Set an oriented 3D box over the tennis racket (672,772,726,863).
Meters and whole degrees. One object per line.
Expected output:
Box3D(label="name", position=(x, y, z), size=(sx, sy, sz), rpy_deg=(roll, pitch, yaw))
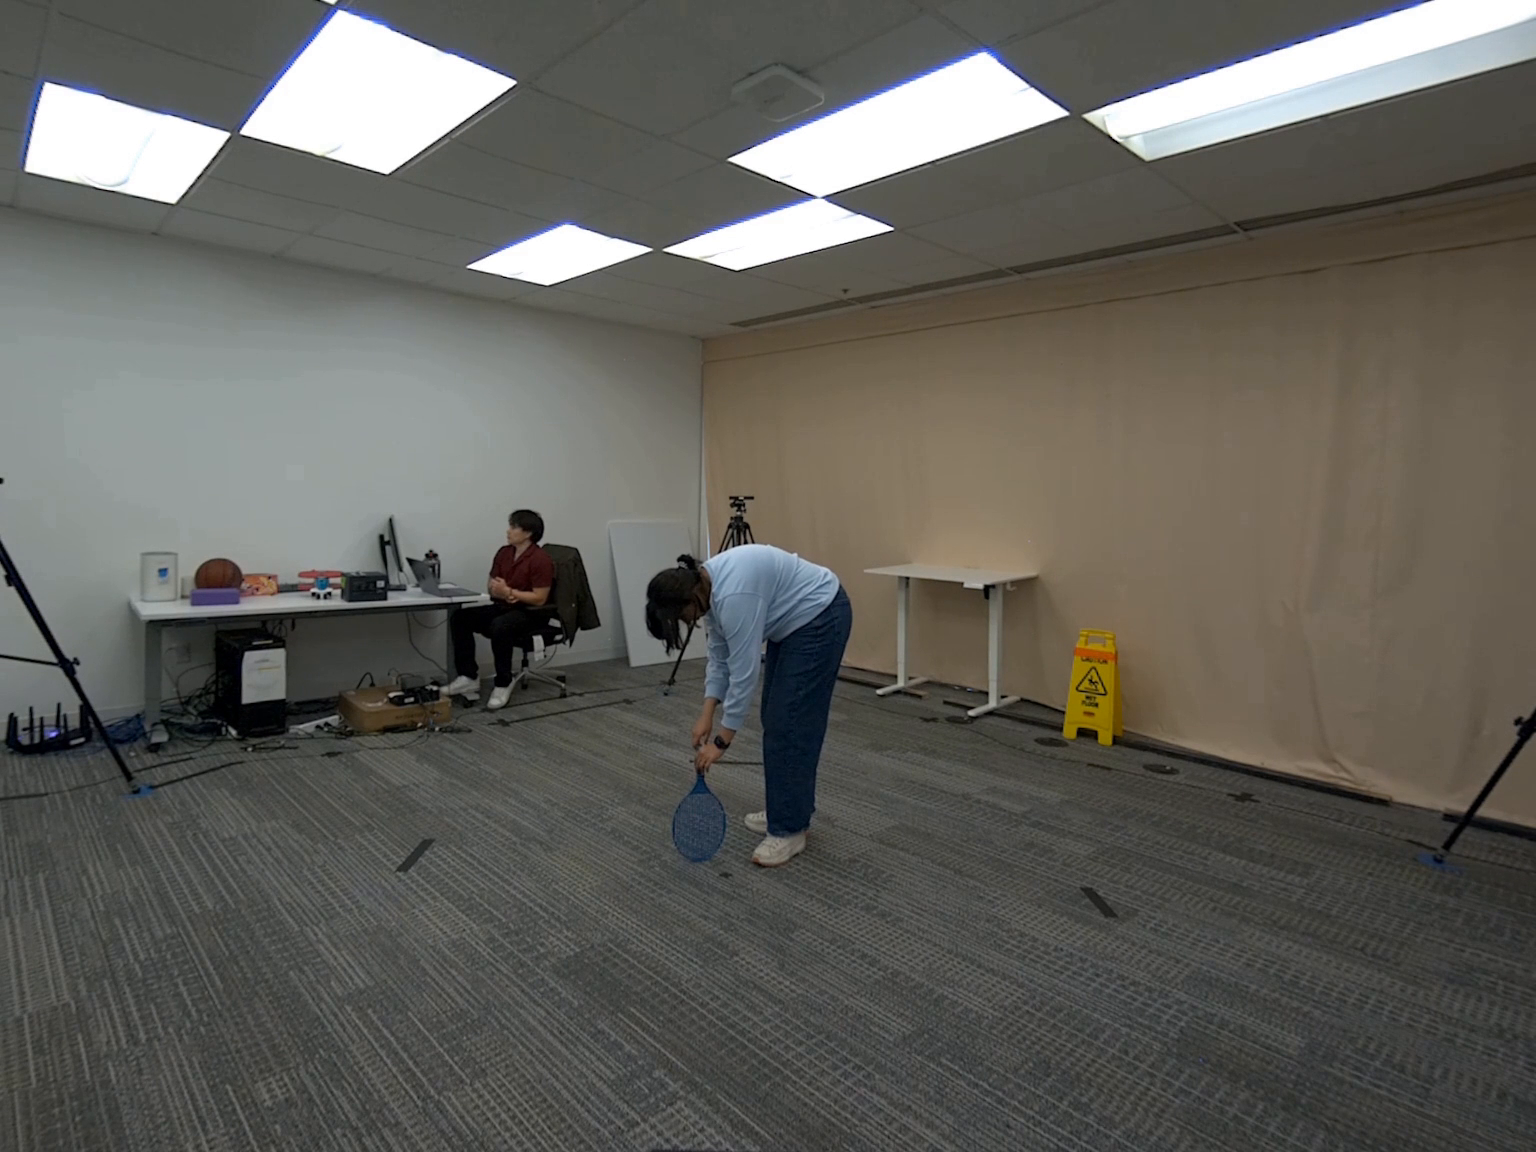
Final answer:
Box3D(label="tennis racket", position=(-0.262, 0.871, 3.225), size=(0.211, 0.433, 0.032), rpy_deg=(1, -2, -15))
